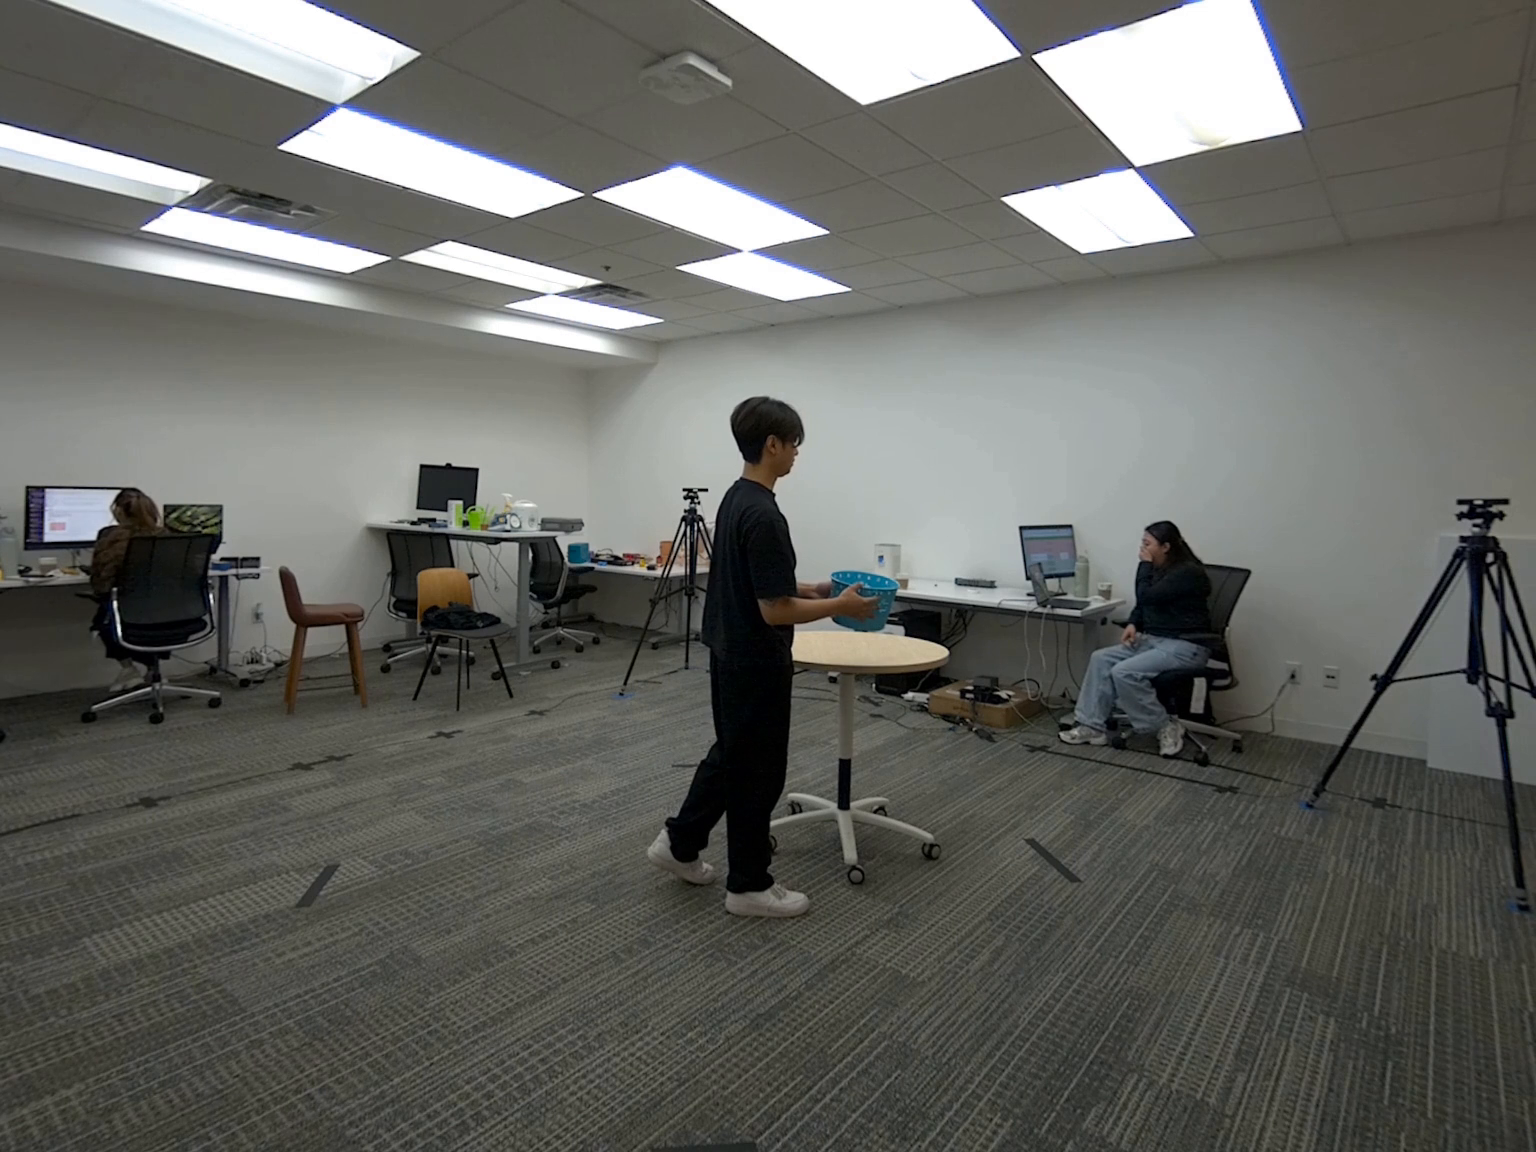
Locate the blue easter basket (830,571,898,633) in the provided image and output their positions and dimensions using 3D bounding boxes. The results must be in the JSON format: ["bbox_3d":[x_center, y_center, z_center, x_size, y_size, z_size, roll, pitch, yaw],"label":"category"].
[{"bbox_3d":[0.300,0.084,2.866,0.243,0.154,0.247,6,13,-3],"label":"blue easter basket"}]
